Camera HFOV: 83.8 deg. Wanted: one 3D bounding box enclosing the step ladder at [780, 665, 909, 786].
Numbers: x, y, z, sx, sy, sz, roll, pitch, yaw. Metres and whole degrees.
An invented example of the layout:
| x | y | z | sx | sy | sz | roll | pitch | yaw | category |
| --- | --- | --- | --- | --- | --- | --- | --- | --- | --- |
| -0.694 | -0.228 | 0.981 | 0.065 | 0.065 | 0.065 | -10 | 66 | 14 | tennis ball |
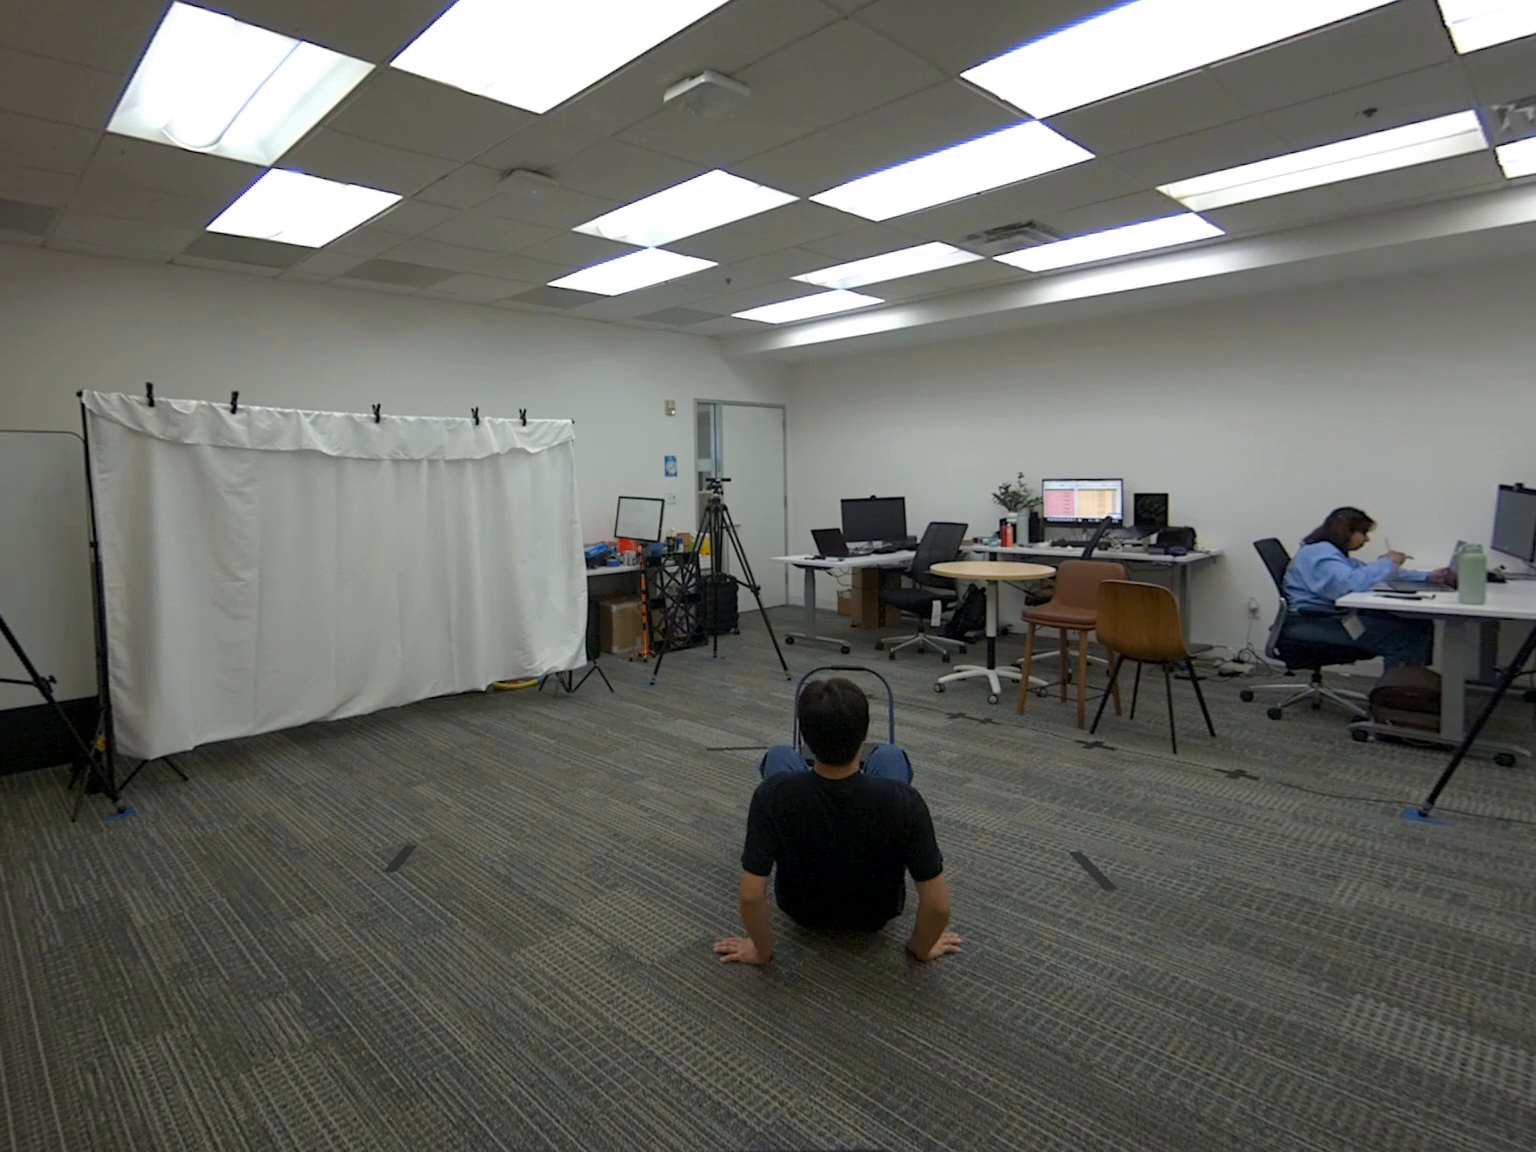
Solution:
| x | y | z | sx | sy | sz | roll | pitch | yaw | category |
| --- | --- | --- | --- | --- | --- | --- | --- | --- | --- |
| 0.320 | 0.687 | 3.530 | 0.435 | 0.603 | 0.348 | 0 | 6 | 9 | step ladder |
